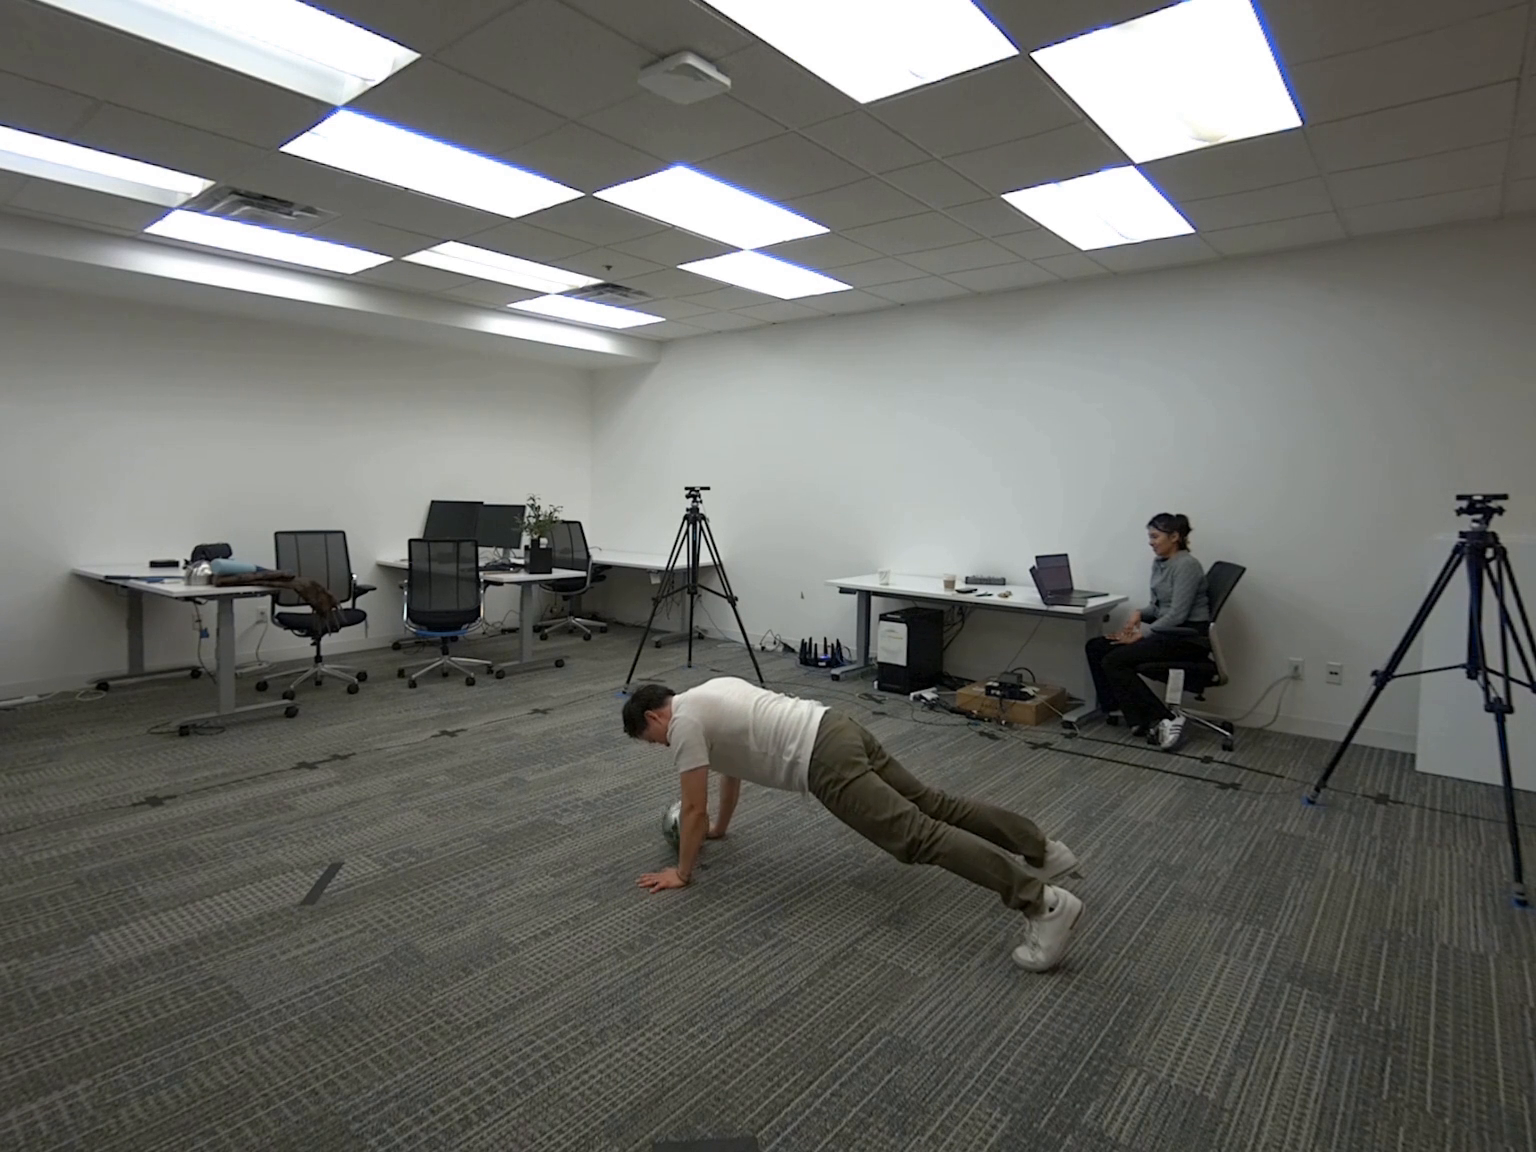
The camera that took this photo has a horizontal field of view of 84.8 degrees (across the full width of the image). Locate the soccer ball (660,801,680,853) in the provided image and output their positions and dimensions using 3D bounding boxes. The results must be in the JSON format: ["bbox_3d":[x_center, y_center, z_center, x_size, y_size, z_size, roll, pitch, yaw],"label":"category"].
[{"bbox_3d":[-0.332,0.952,3.272,0.187,0.187,0.188,1,4,-2],"label":"soccer ball"}]
